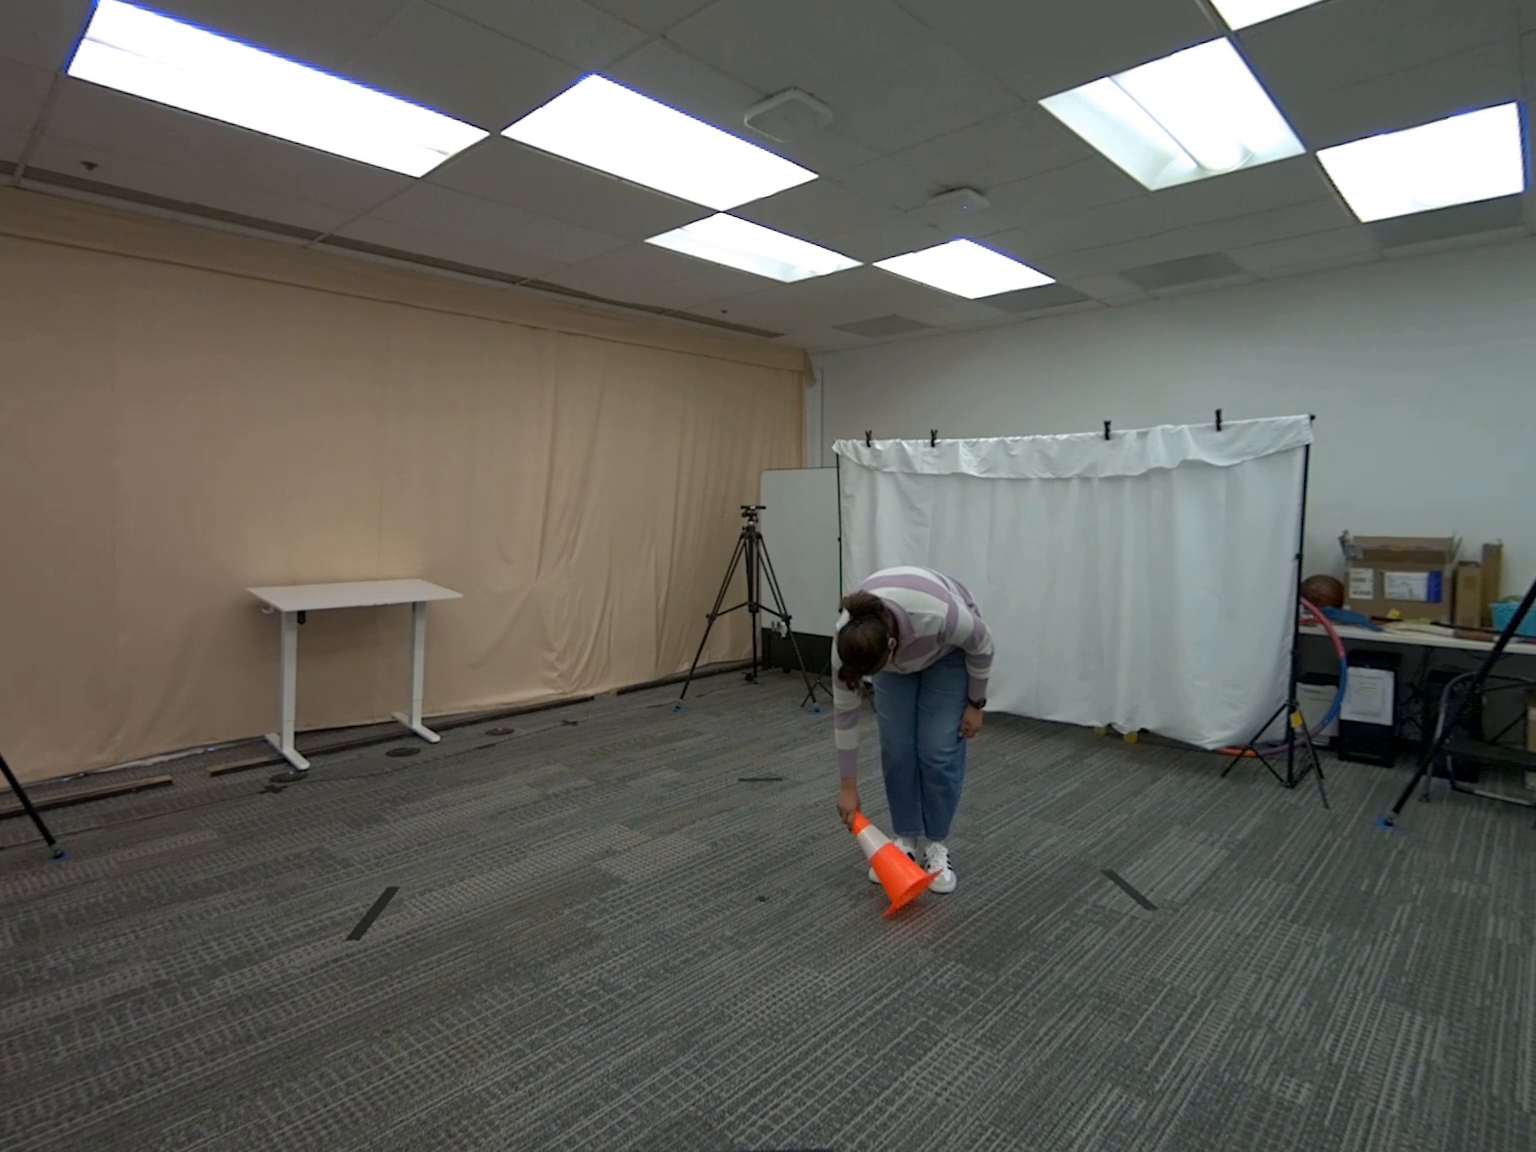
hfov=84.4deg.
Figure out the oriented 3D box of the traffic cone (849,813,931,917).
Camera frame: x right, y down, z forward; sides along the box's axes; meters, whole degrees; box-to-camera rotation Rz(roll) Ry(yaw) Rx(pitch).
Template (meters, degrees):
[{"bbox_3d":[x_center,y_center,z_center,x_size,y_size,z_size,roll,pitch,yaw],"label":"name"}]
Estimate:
[{"bbox_3d":[0.384,0.947,2.960,0.199,0.203,0.396,-16,50,-32],"label":"traffic cone"}]
